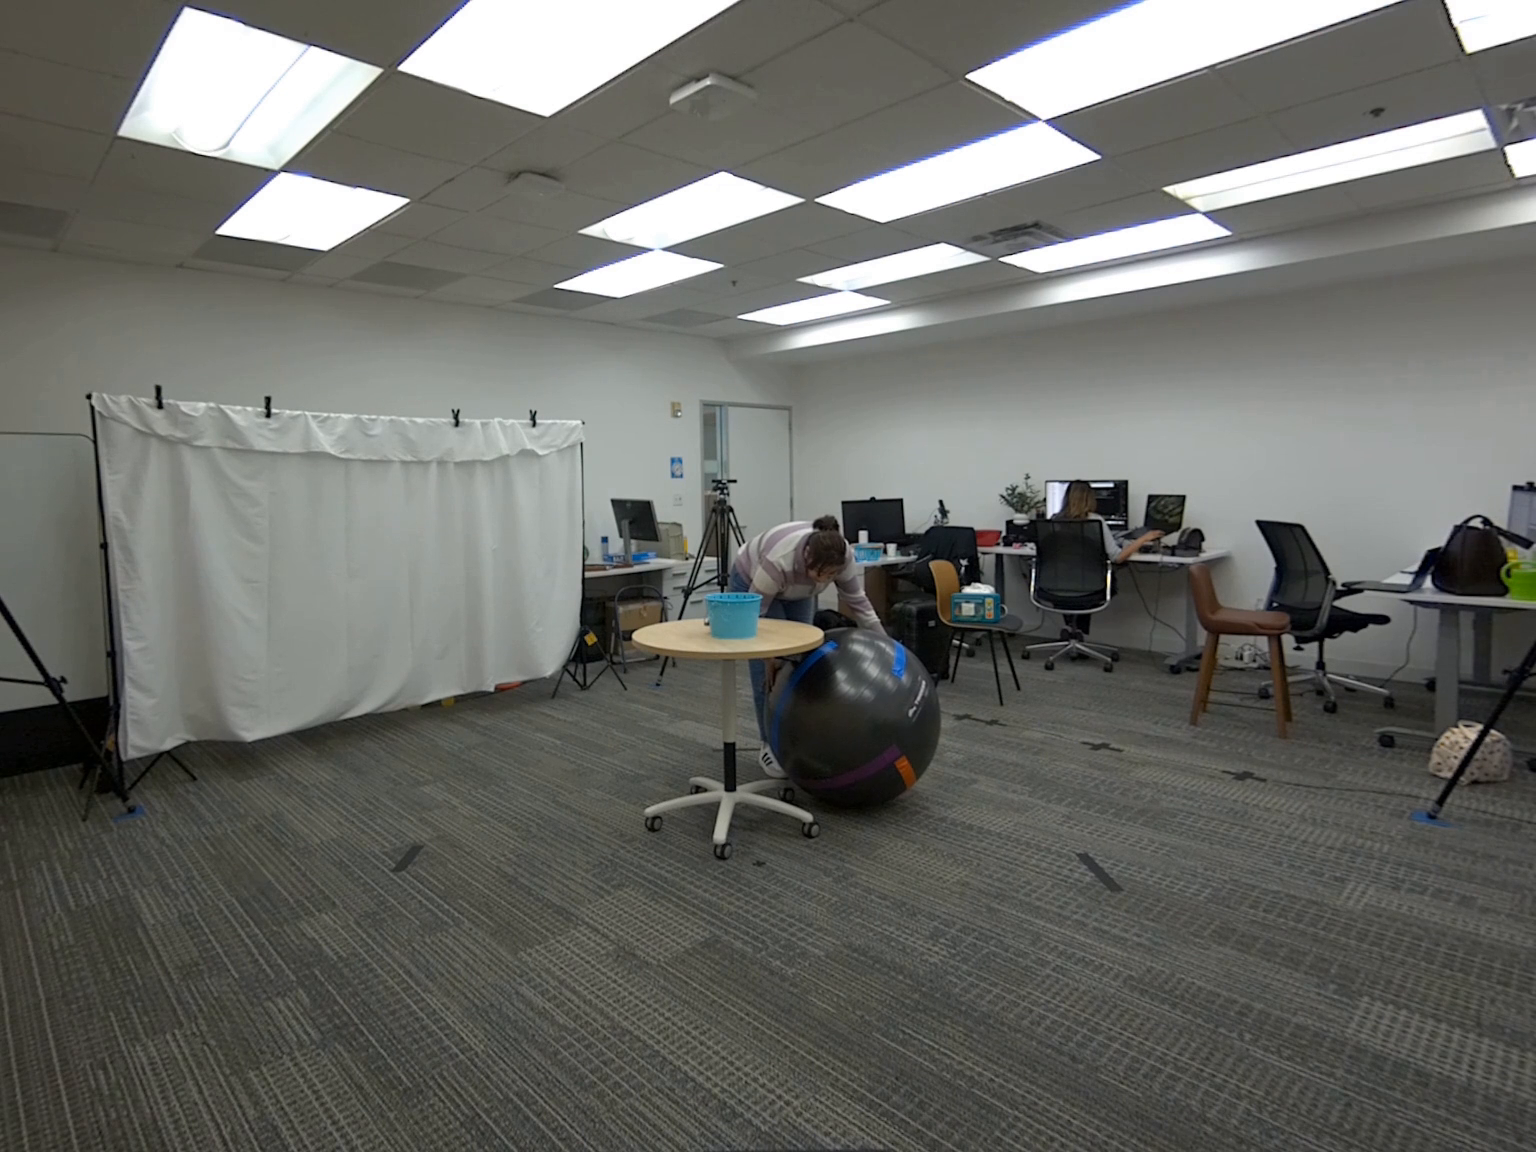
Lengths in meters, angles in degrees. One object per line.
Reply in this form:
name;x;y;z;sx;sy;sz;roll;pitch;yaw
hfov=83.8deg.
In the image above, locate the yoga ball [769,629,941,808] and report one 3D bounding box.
yoga ball;0.372;0.604;3.694;0.757;0.755;0.762;-1;5;-2
